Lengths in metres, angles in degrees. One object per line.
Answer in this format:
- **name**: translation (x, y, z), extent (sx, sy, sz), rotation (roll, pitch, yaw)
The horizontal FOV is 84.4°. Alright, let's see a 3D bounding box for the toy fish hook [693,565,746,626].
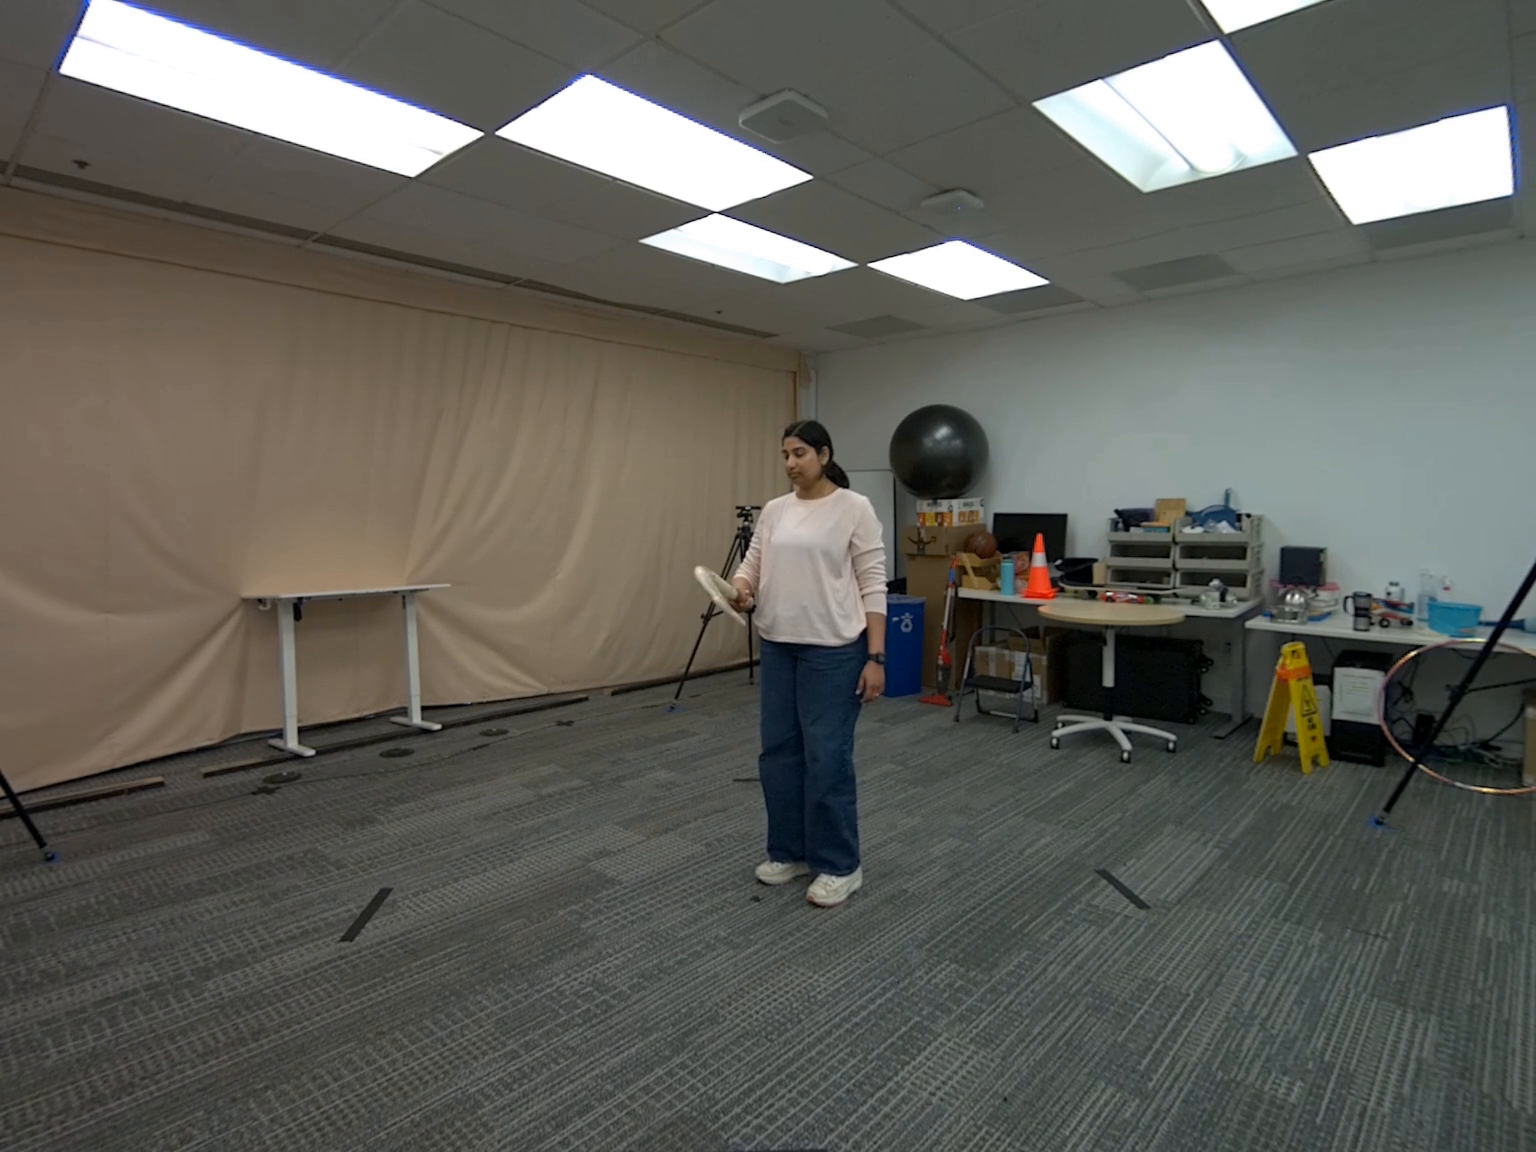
- **toy fish hook**: translation (-0.109, 0.074, 2.733), extent (0.048, 0.229, 0.493), rotation (-33, -21, 8)
